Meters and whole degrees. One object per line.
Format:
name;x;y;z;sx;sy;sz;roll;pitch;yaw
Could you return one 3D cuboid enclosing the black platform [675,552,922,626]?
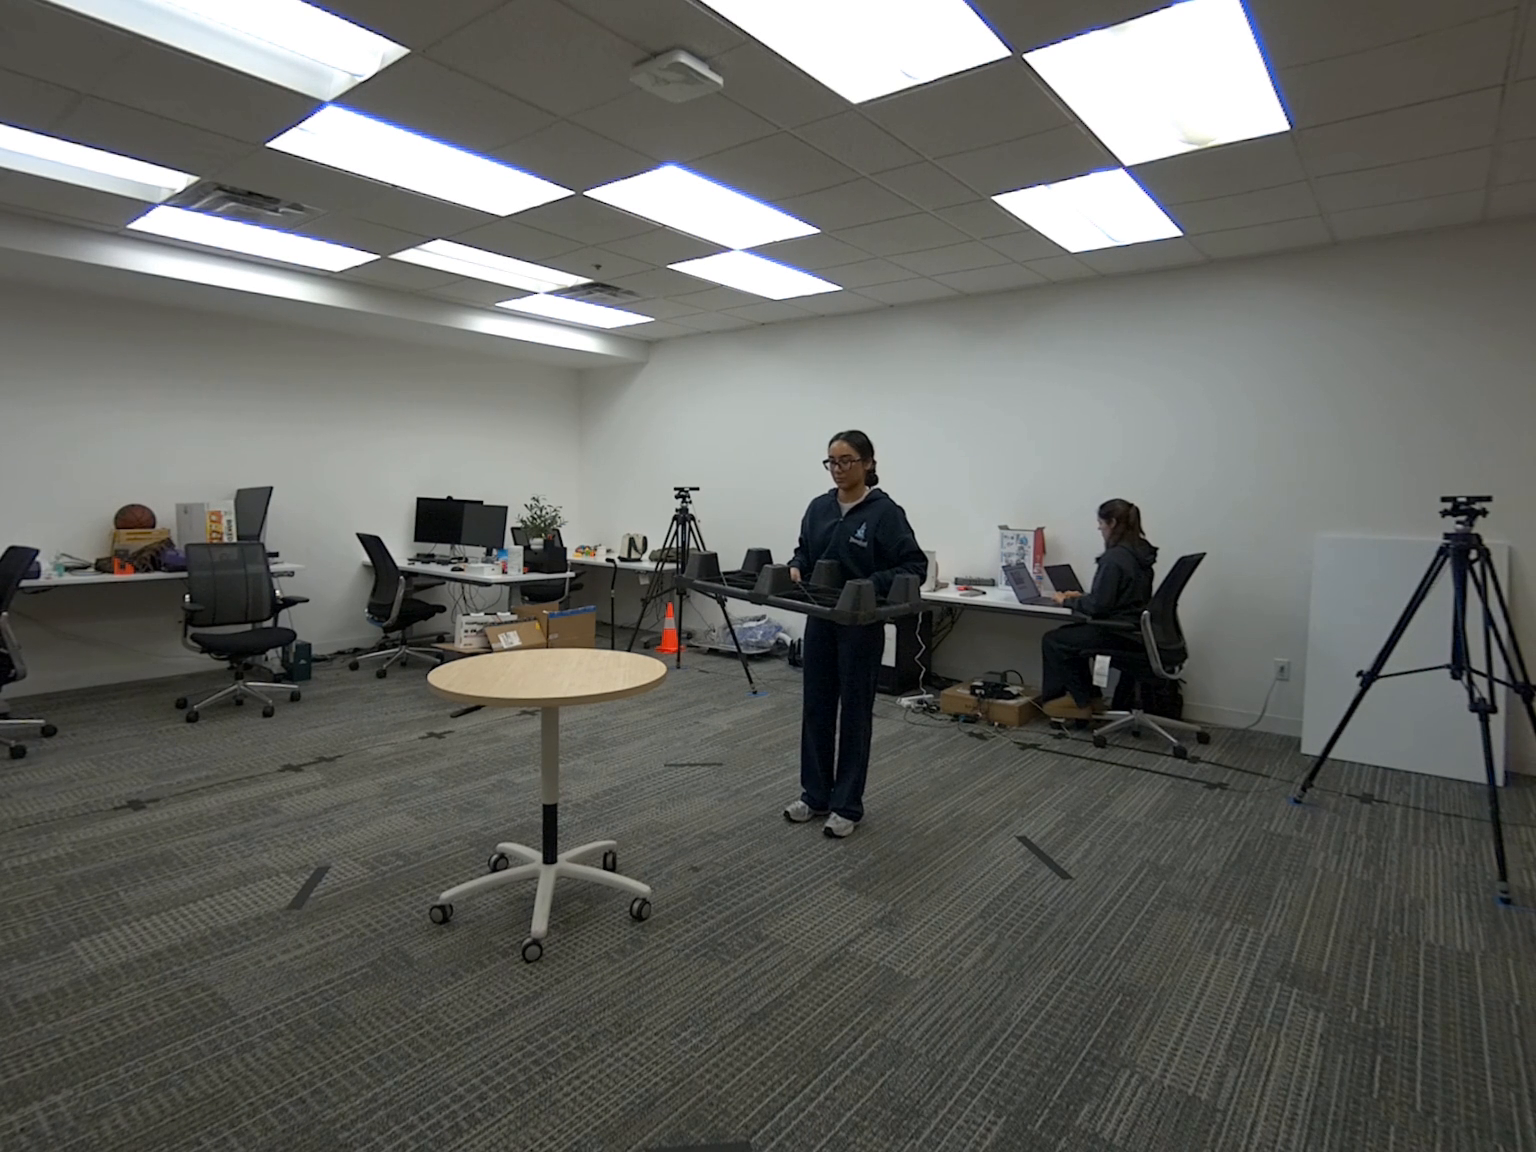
black platform;0.113;0.022;3.246;0.834;0.142;0.588;11;10;35
